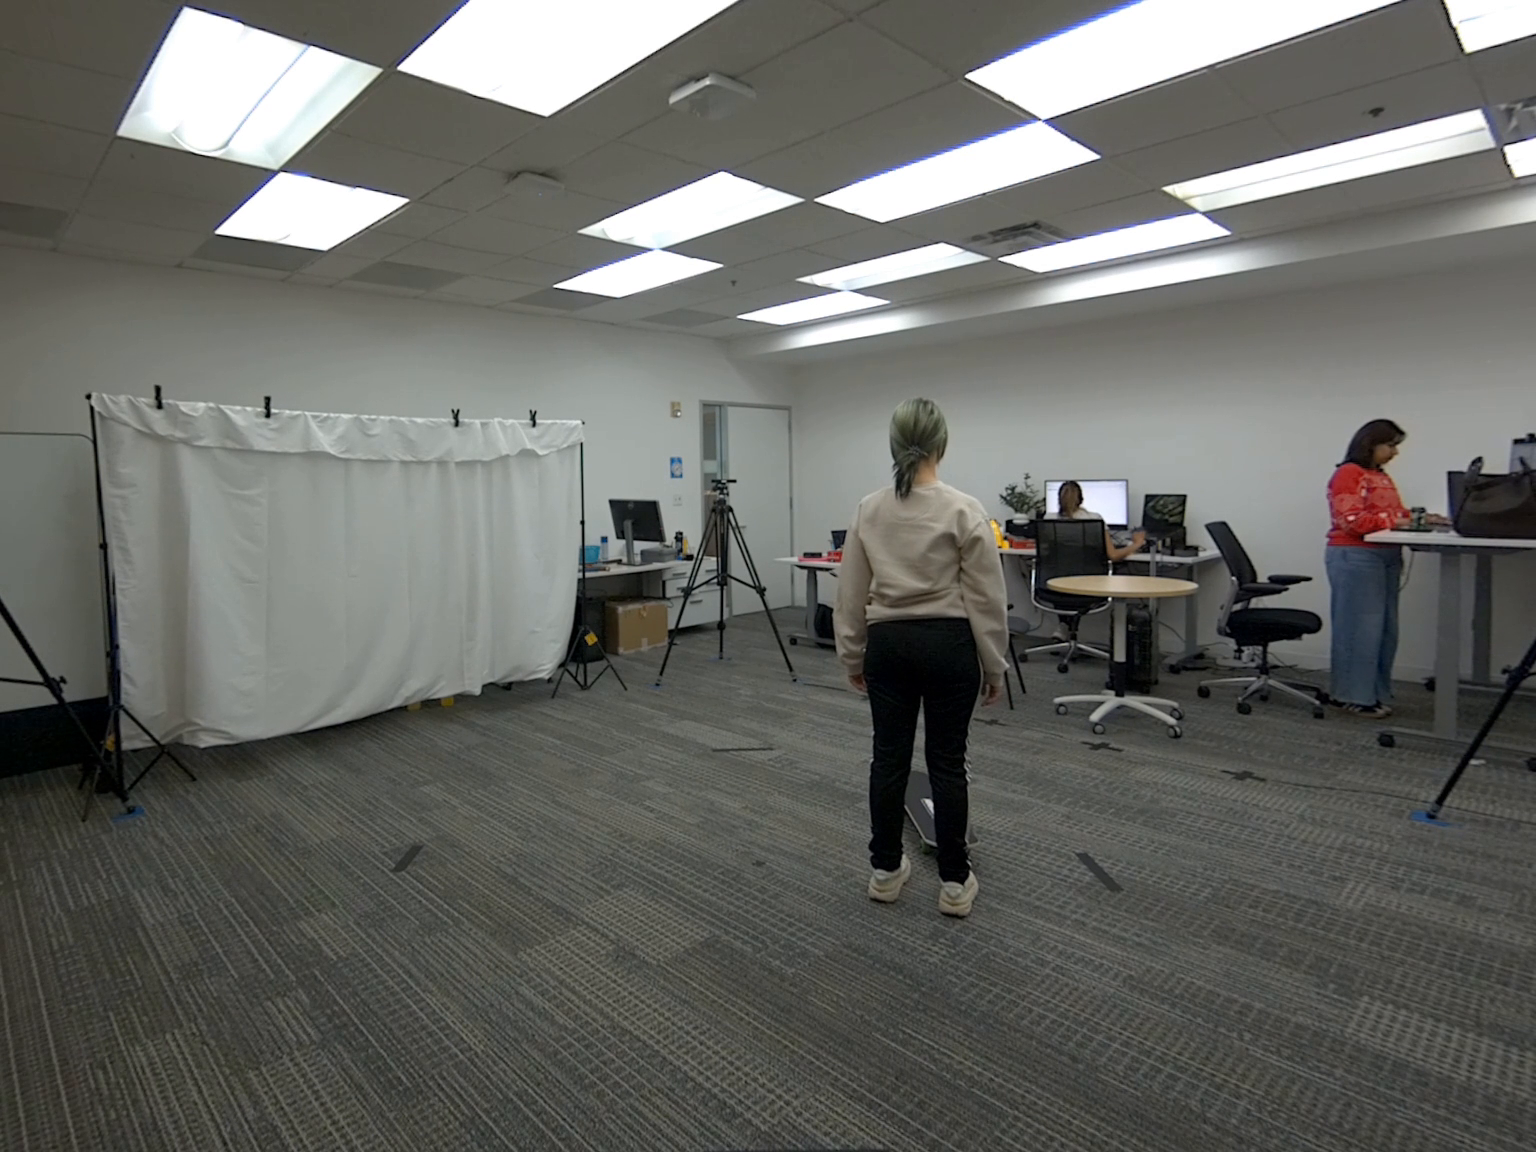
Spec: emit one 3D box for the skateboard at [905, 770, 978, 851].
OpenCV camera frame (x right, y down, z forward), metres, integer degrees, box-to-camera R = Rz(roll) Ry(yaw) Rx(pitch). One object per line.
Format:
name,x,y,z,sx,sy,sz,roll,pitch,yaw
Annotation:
skateboard,0.647,0.946,3.374,0.193,0.110,0.790,-2,7,-3
